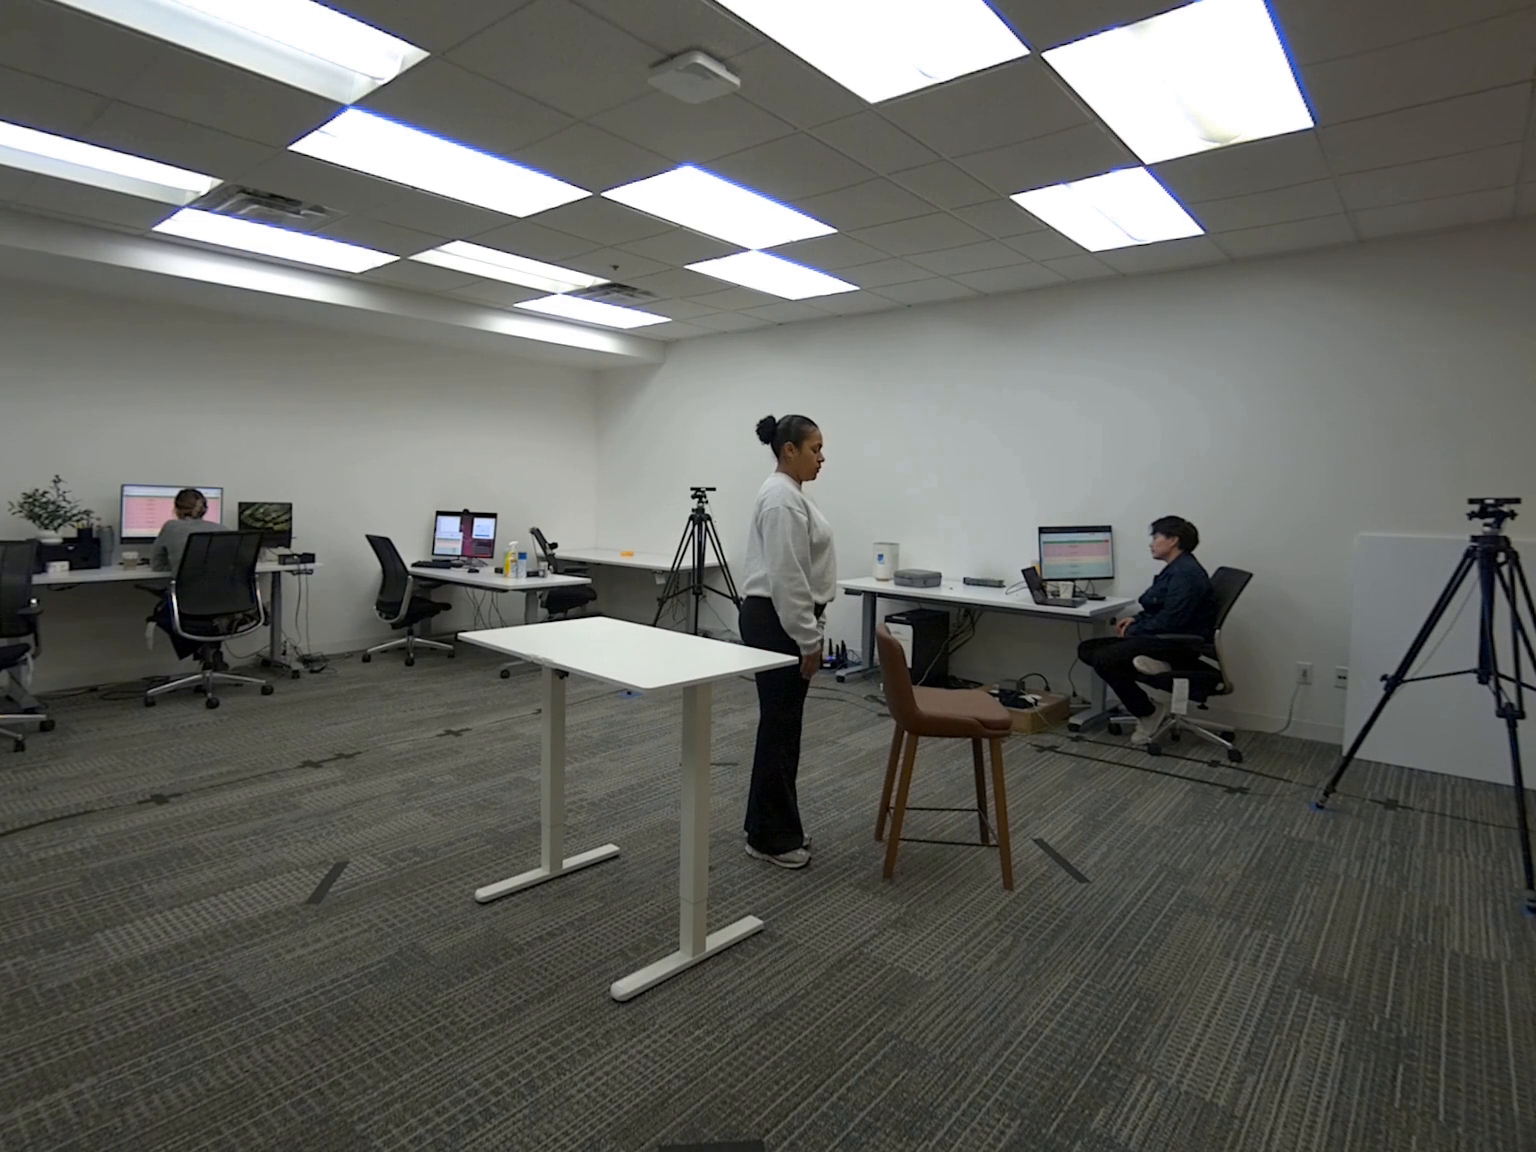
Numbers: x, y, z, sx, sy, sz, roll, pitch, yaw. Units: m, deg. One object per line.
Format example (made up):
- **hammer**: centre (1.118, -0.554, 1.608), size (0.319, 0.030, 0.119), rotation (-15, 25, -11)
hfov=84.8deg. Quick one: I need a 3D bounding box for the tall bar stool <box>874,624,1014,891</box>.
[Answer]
- **tall bar stool**: centre (0.644, 0.640, 3.195), size (0.470, 0.888, 0.455), rotation (0, 3, 4)
